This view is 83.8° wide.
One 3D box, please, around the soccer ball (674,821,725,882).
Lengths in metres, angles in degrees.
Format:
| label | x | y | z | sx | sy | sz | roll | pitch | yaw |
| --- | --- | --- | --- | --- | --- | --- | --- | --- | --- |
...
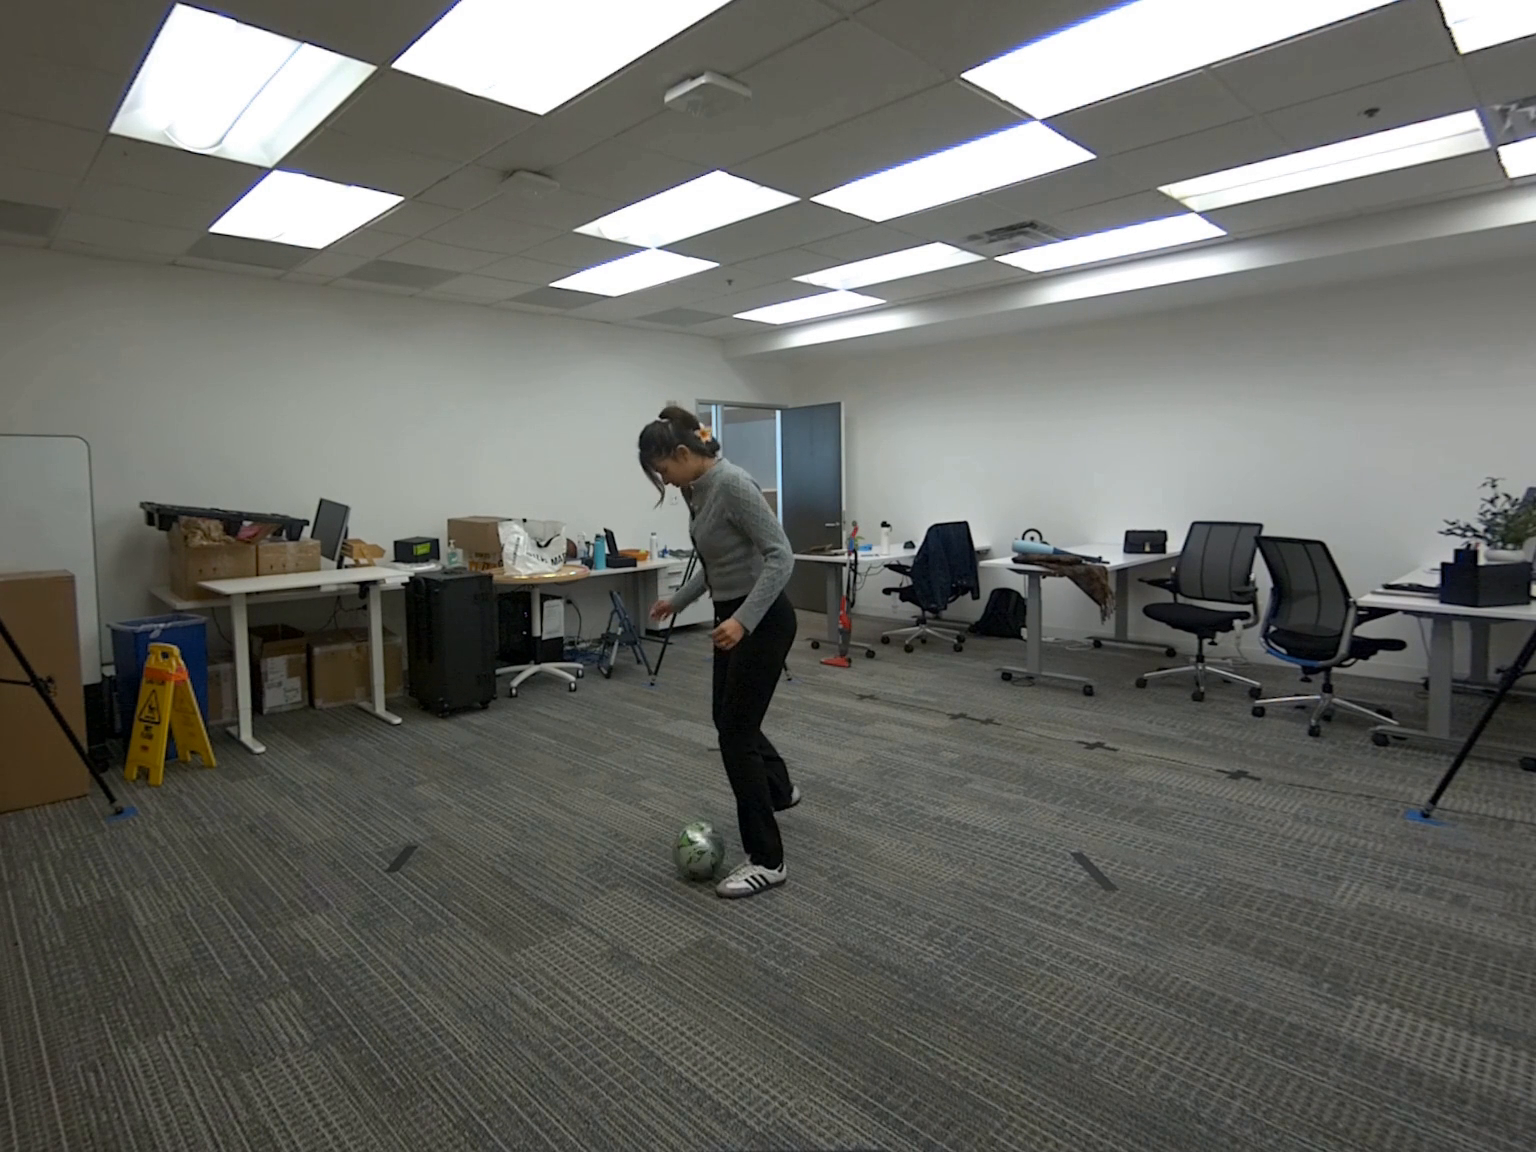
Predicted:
| label | x | y | z | sx | sy | sz | roll | pitch | yaw |
| --- | --- | --- | --- | --- | --- | --- | --- | --- | --- |
| soccer ball | -0.240 | 0.967 | 3.006 | 0.187 | 0.187 | 0.188 | -1 | 5 | -2 |
